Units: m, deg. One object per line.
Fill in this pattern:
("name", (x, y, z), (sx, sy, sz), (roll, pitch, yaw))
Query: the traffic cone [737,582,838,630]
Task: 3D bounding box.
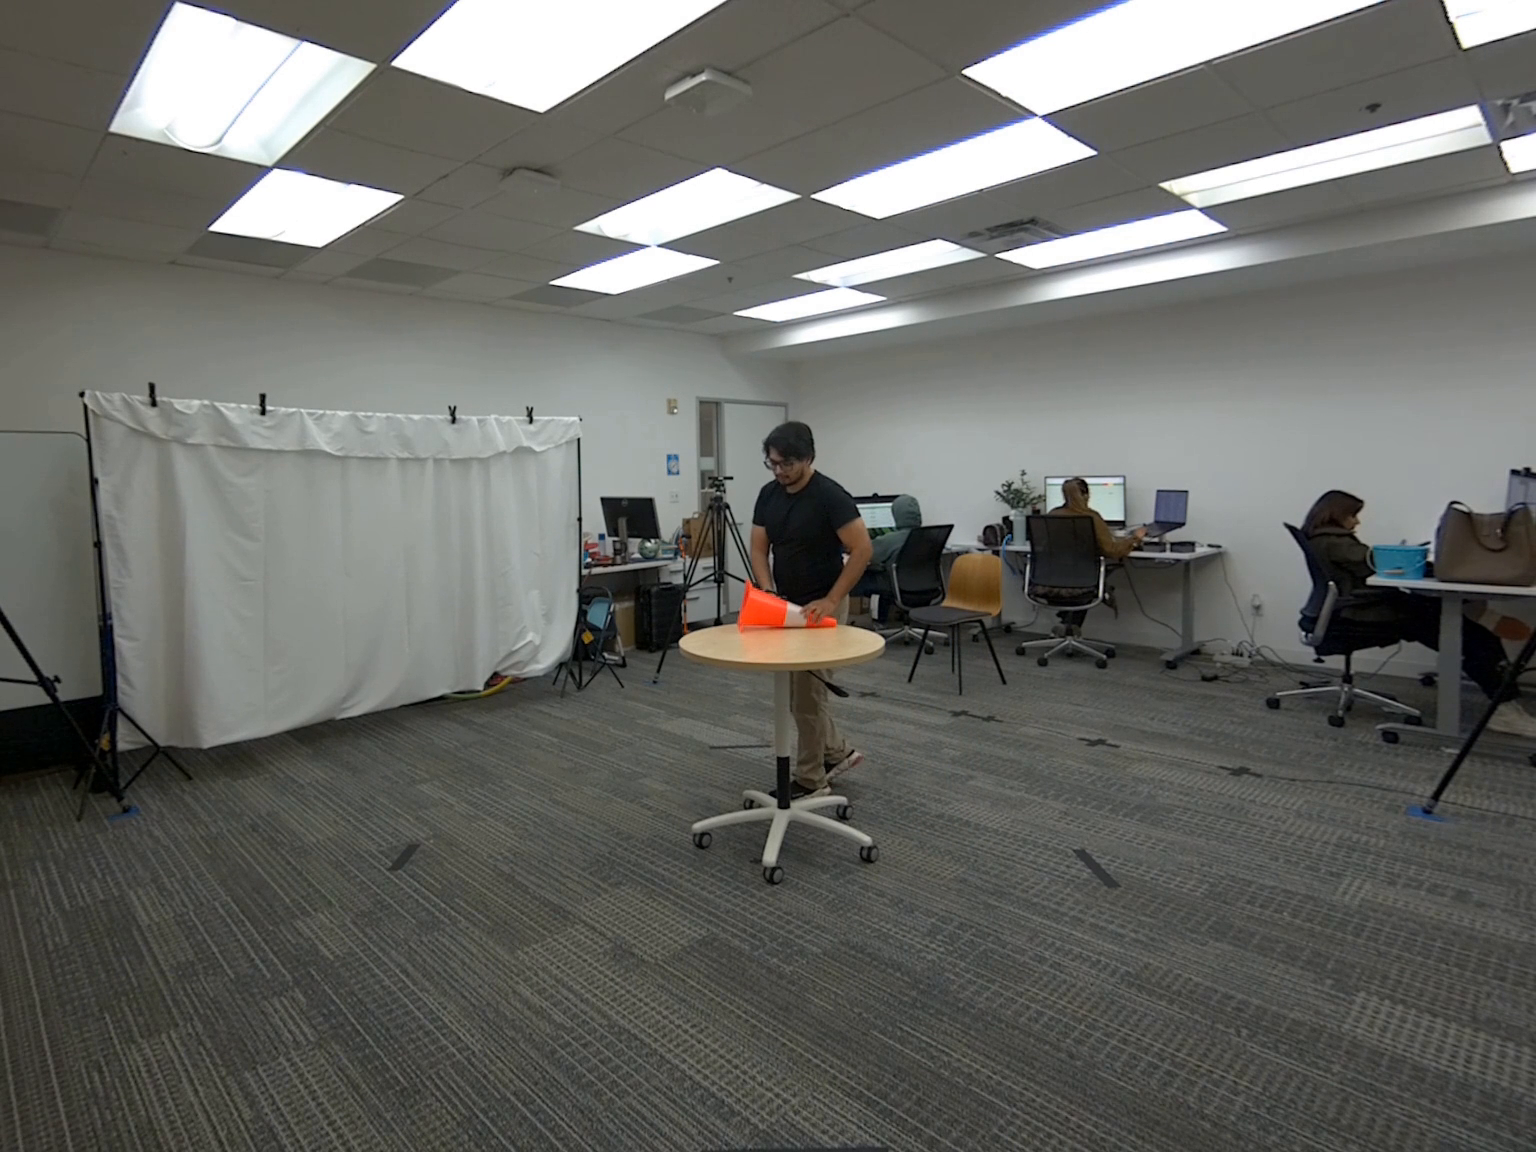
("traffic cone", (0.092, 0.150, 3.429), (0.383, 0.204, 0.205), (8, 8, -2))
